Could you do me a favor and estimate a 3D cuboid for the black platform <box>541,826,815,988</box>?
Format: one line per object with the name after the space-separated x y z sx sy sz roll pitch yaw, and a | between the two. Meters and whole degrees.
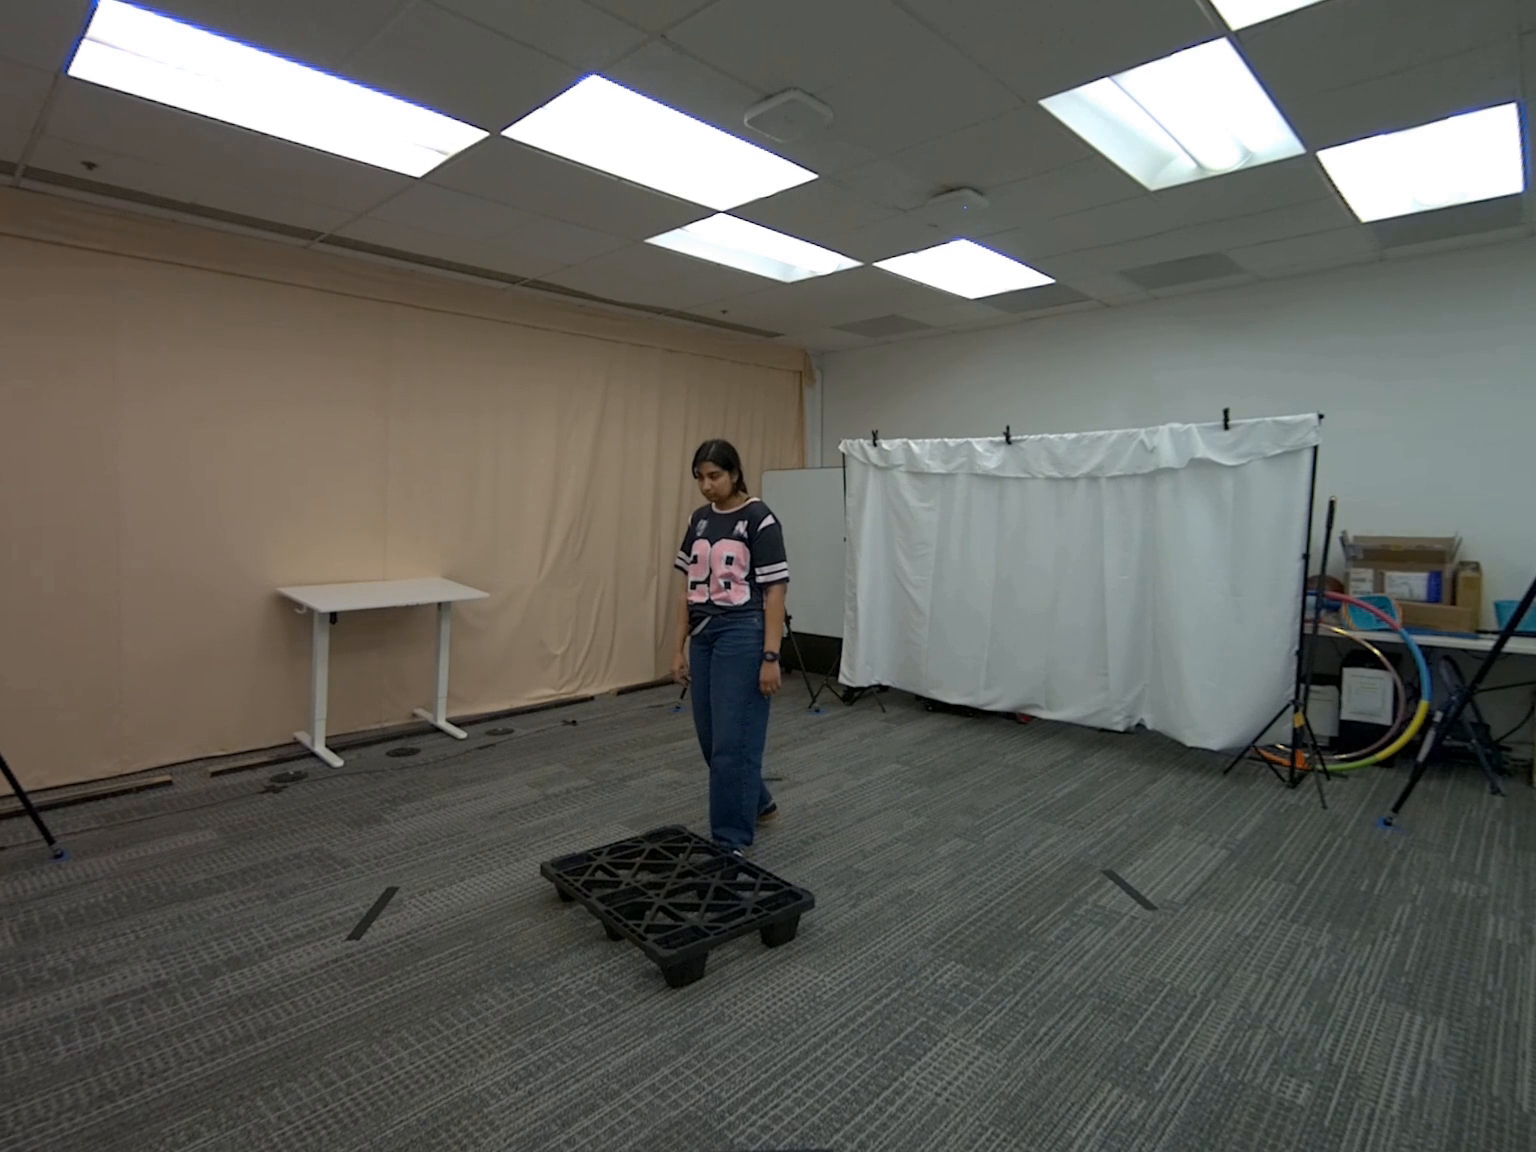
-0.328 1.093 2.843 0.587 0.143 0.832 -5 6 -39 | black platform
